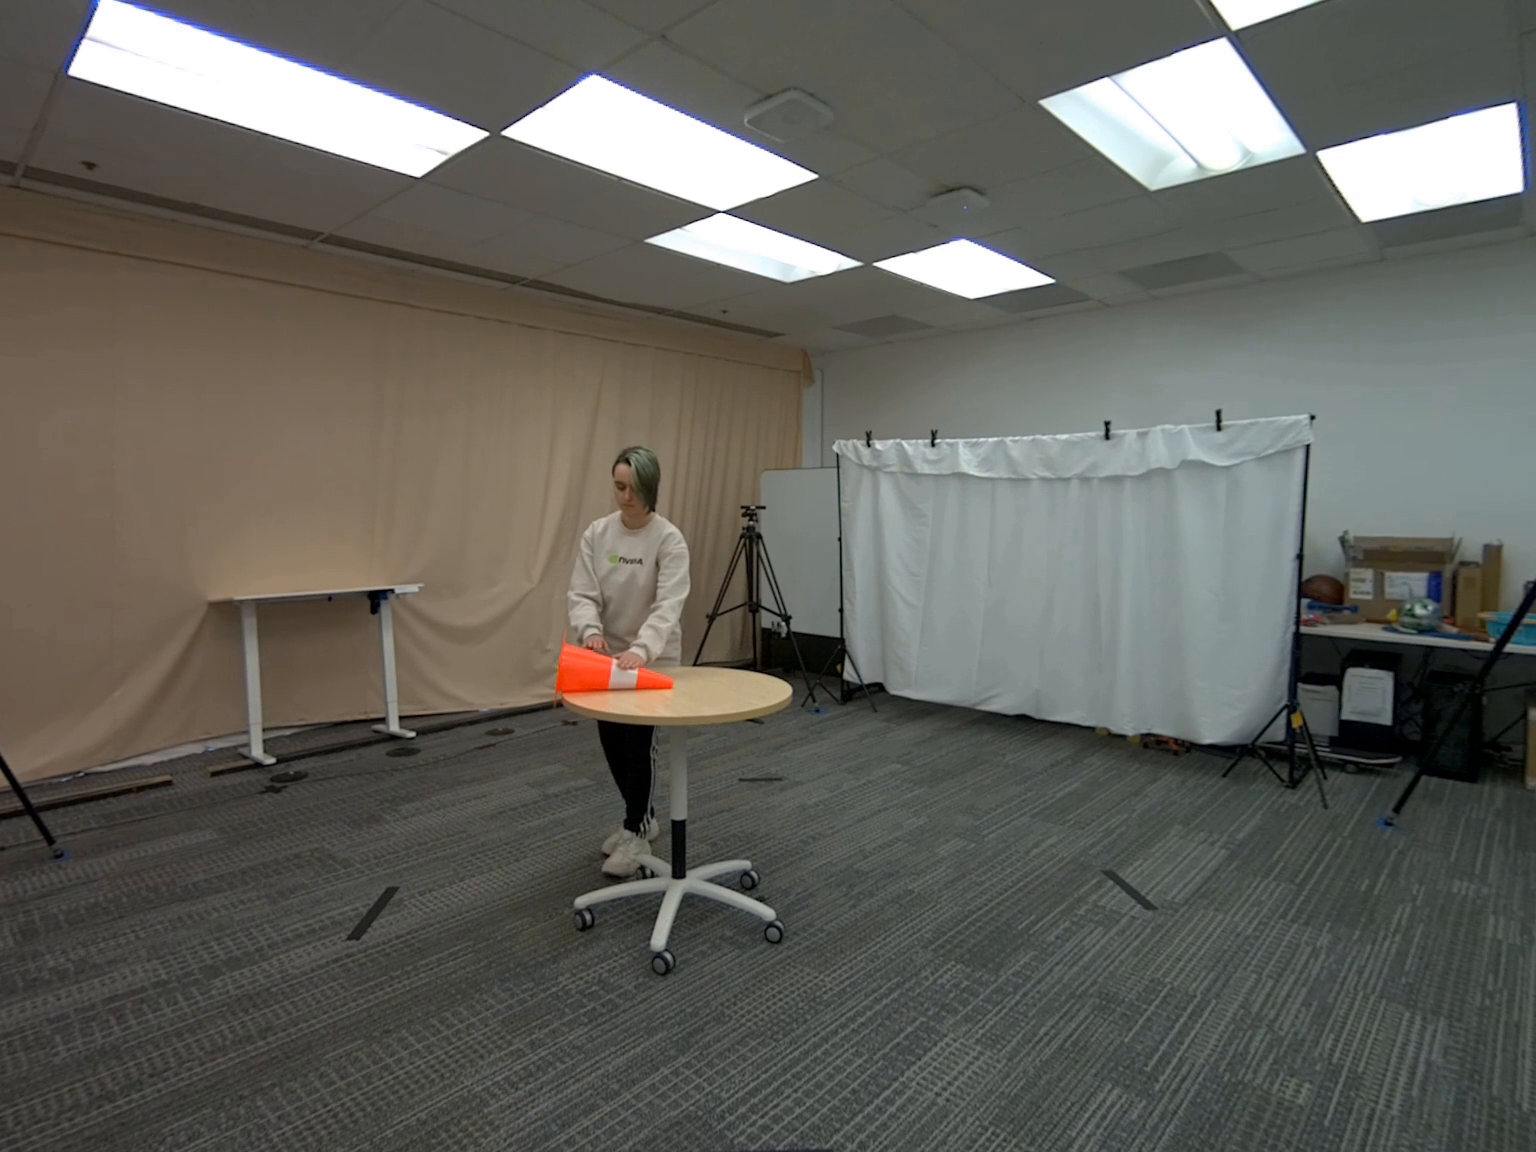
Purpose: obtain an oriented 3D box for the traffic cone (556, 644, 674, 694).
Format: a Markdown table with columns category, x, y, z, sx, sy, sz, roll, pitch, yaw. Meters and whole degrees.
| category | x | y | z | sx | sy | sz | roll | pitch | yaw |
| --- | --- | --- | --- | --- | --- | --- | --- | --- | --- |
| traffic cone | -0.502 | 0.334 | 2.798 | 0.380 | 0.203 | 0.207 | 11 | 30 | -8 |
